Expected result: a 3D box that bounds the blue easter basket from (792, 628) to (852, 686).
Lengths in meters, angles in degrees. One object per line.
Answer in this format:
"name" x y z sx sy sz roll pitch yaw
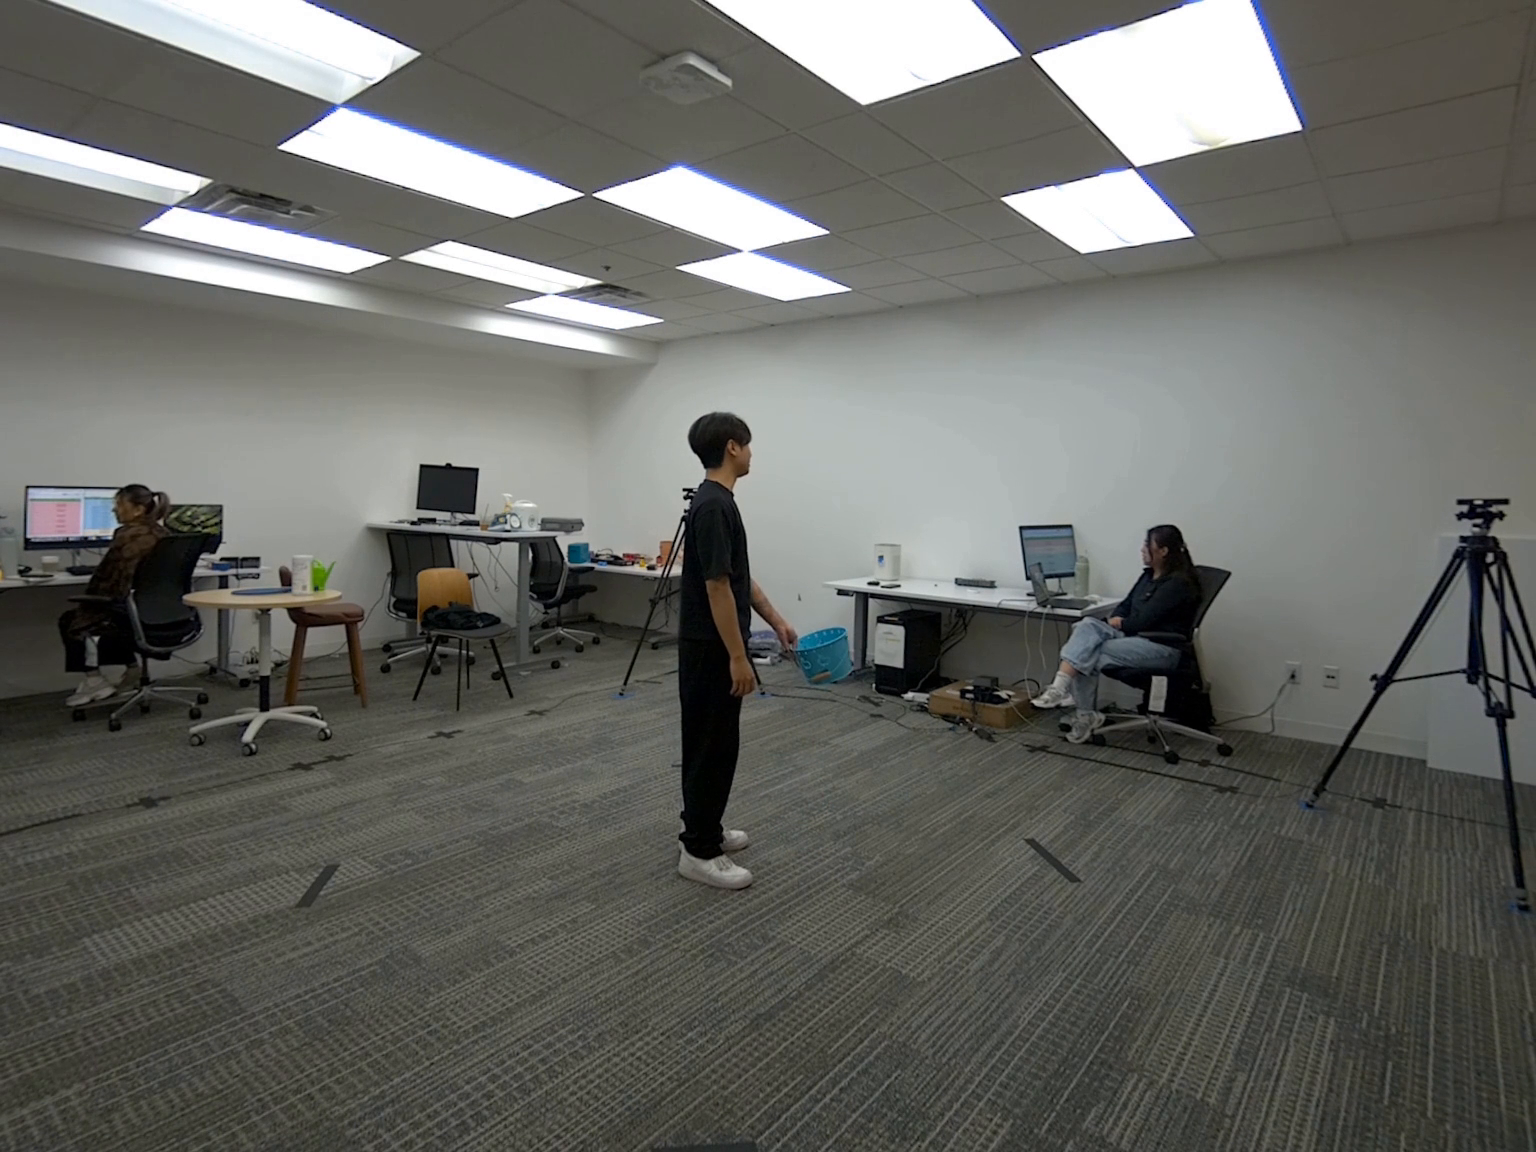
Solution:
"blue easter basket" 0.188 0.324 3.256 0.244 0.154 0.245 -16 8 0
